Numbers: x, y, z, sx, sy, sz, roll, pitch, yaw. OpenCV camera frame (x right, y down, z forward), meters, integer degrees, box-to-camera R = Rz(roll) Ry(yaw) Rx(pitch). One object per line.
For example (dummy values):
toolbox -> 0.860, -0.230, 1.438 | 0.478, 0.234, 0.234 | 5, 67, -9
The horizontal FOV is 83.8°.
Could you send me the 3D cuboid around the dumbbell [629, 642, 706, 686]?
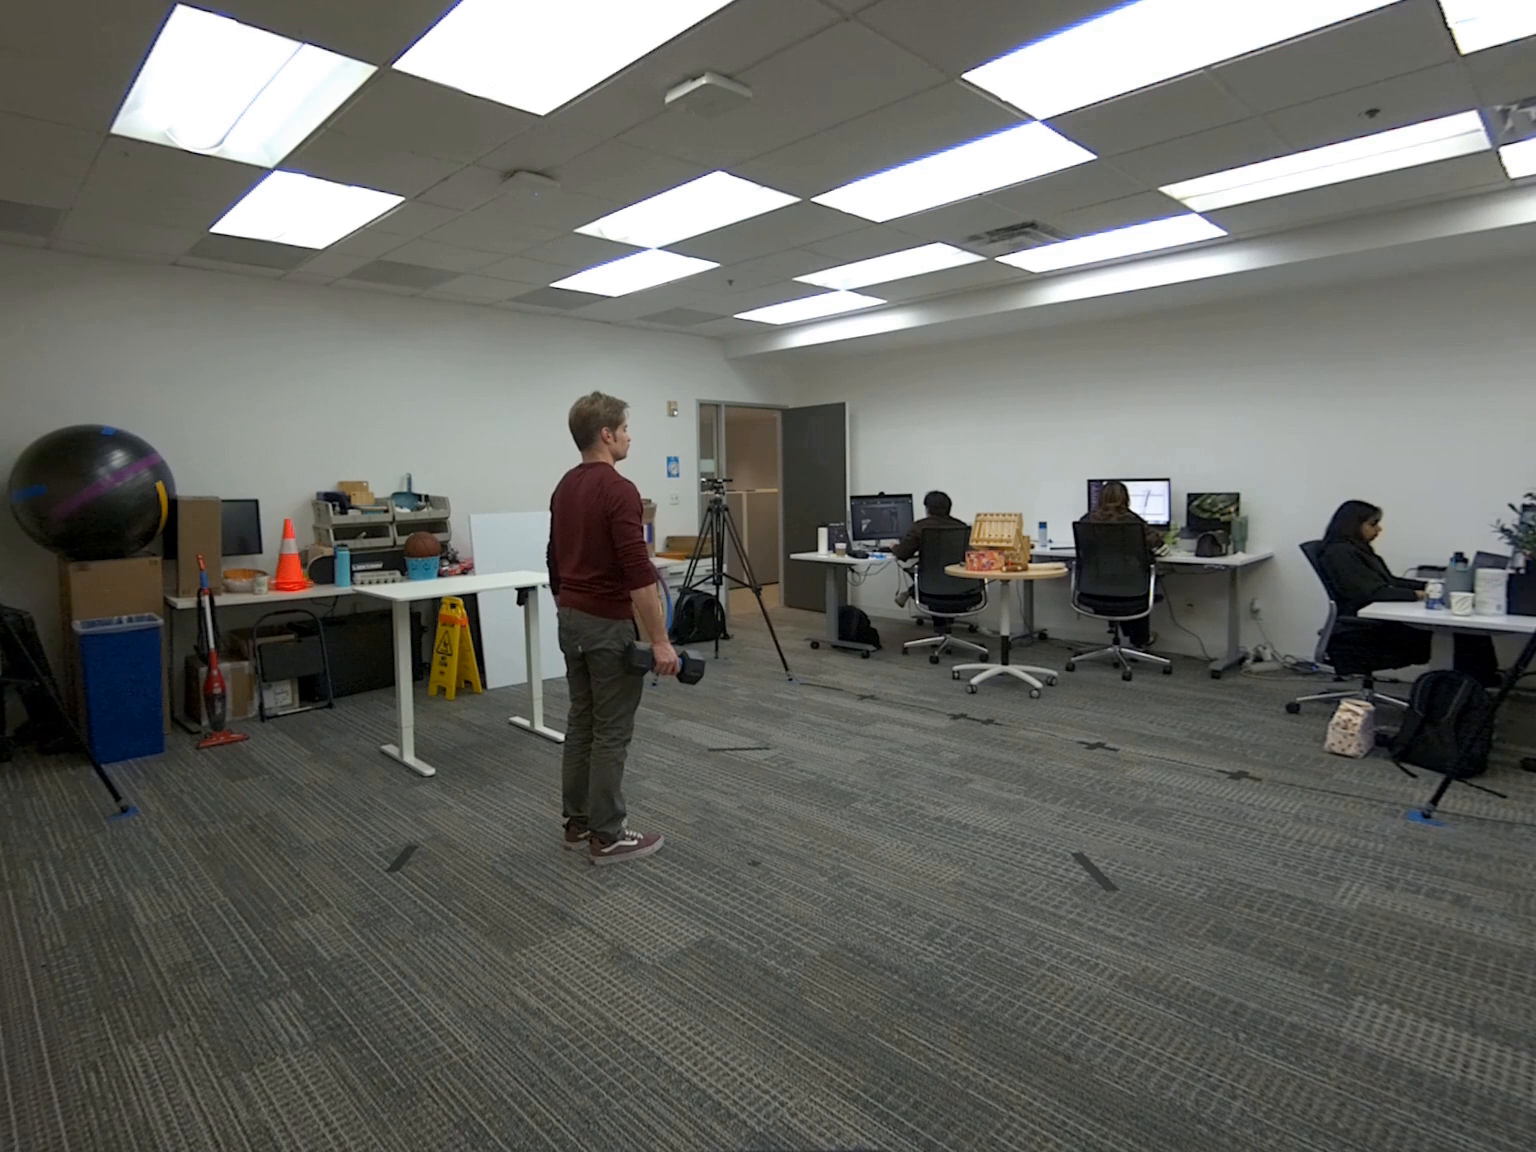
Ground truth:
dumbbell -> -0.372, 0.305, 3.088 | 0.286, 0.124, 0.110 | 12, -13, -26
